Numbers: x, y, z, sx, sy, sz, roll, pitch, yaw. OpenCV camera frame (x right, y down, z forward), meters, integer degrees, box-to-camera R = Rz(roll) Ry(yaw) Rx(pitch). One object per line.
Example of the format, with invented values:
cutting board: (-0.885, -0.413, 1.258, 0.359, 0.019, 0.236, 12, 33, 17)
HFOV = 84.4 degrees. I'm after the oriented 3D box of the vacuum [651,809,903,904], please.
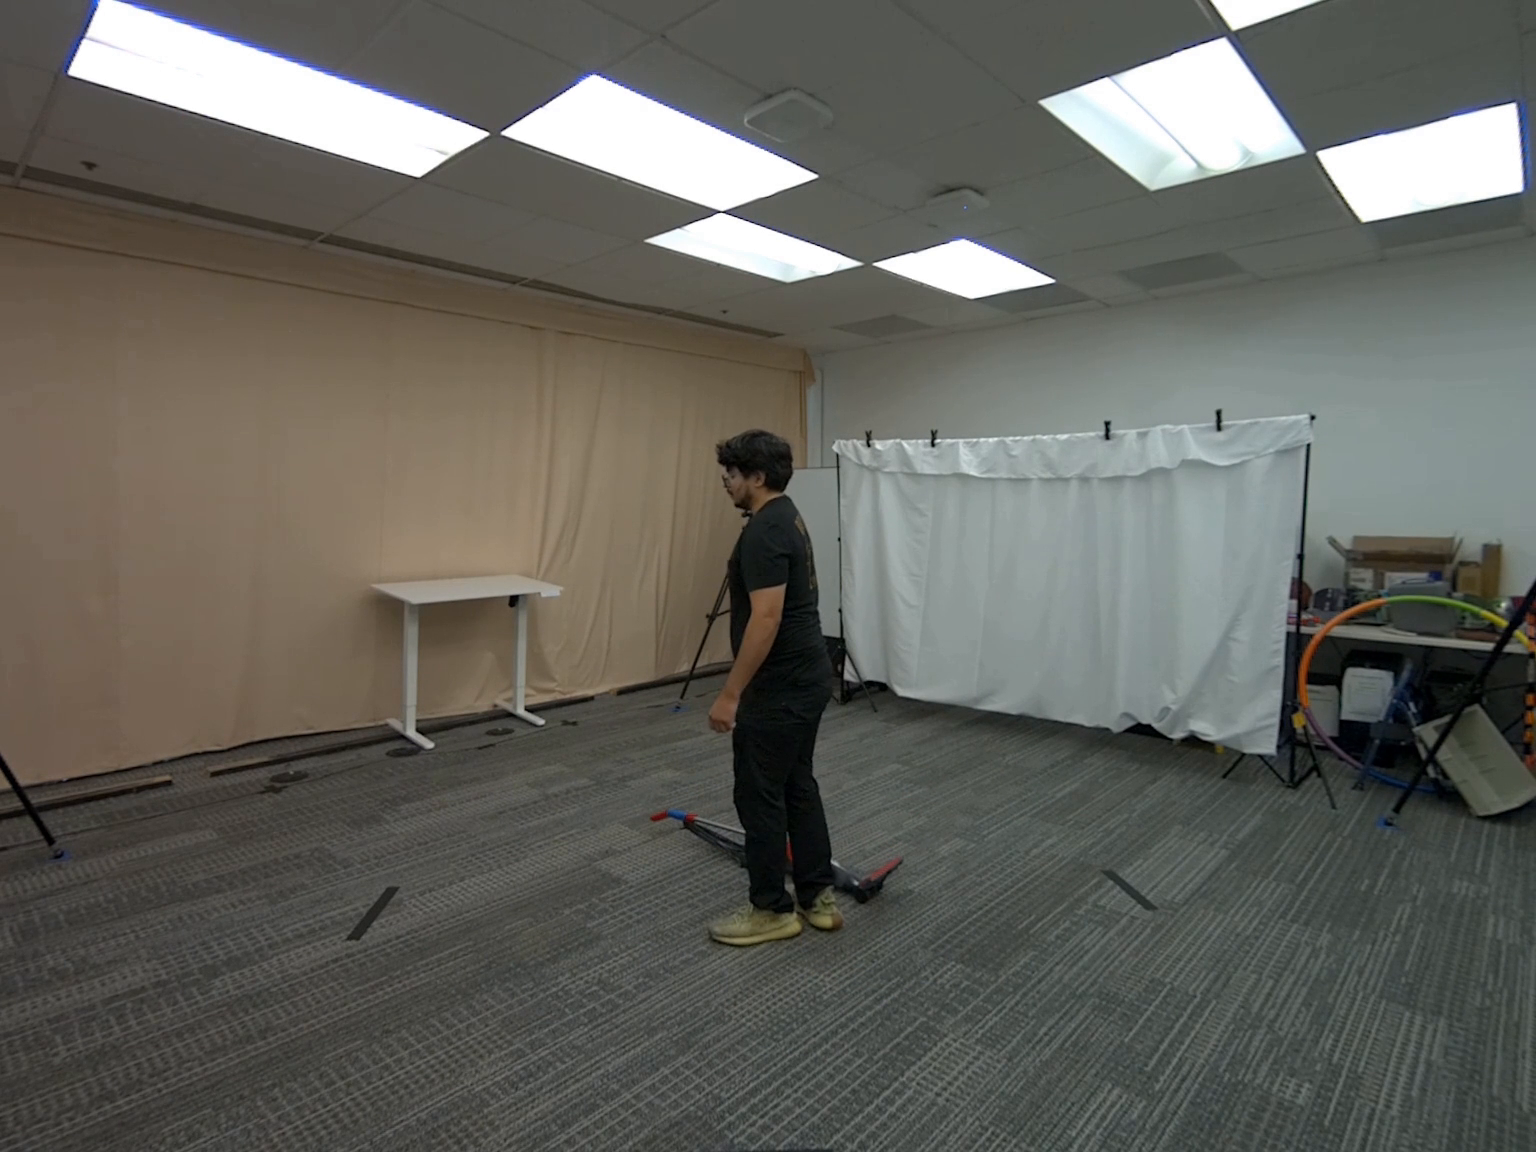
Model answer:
vacuum: (-0.047, 1.058, 3.276, 1.082, 0.144, 0.245, 2, 3, 35)
